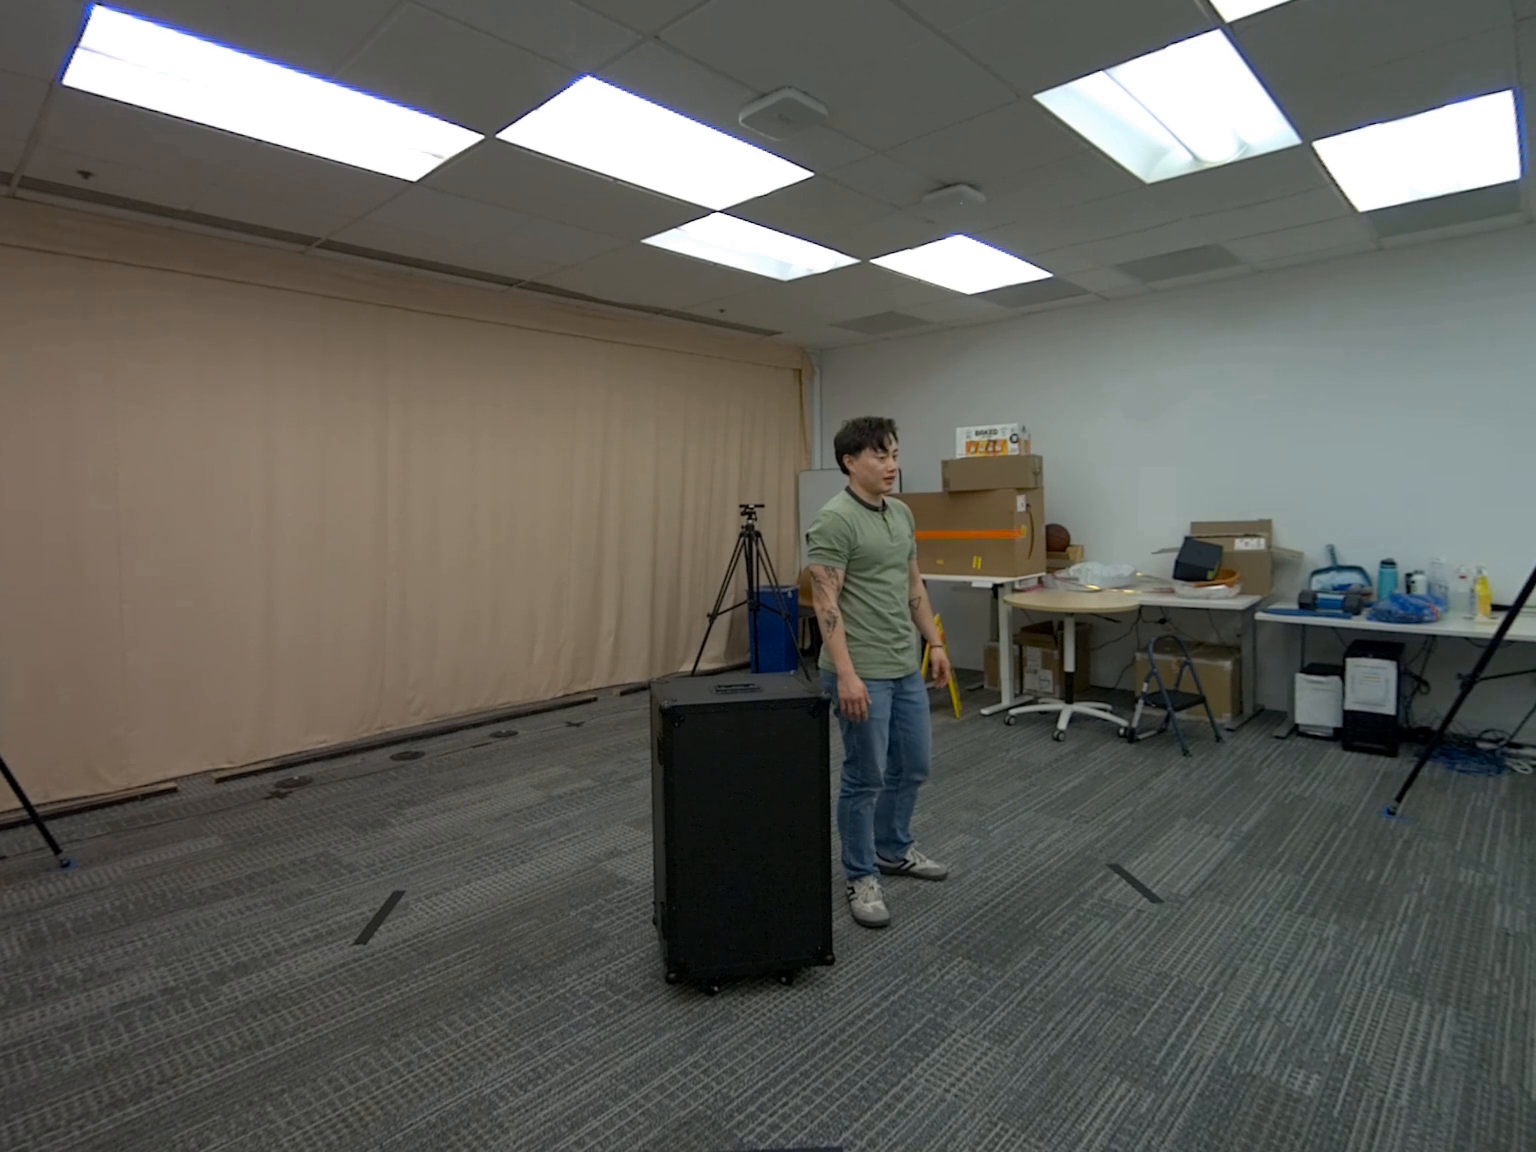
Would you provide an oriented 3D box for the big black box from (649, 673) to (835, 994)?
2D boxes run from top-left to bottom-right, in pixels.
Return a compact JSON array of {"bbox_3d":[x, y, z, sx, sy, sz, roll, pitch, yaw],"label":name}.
[{"bbox_3d":[-0.087,0.694,2.527,0.515,0.860,0.402,-1,3,-12],"label":"big black box"}]
